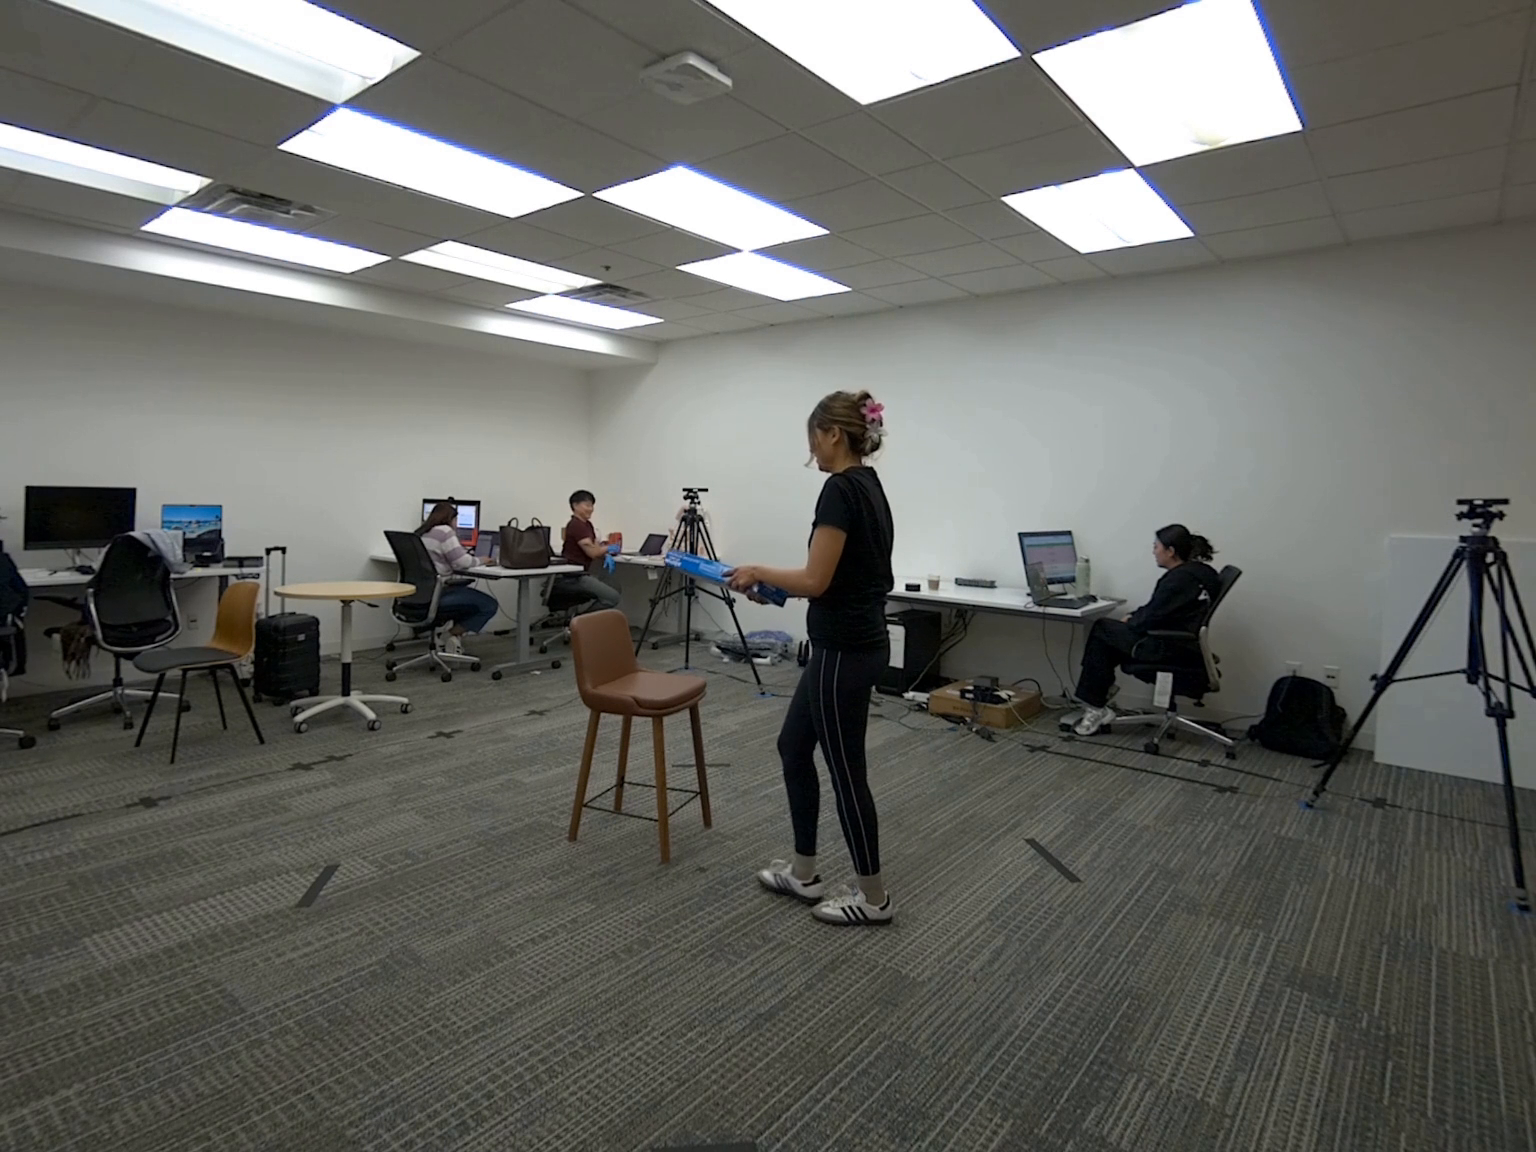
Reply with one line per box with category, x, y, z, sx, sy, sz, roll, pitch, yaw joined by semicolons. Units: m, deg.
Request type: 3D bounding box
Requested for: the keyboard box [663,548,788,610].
keyboard box;-0.154;0.006;2.946;0.454;0.059;0.169;18;-8;39
